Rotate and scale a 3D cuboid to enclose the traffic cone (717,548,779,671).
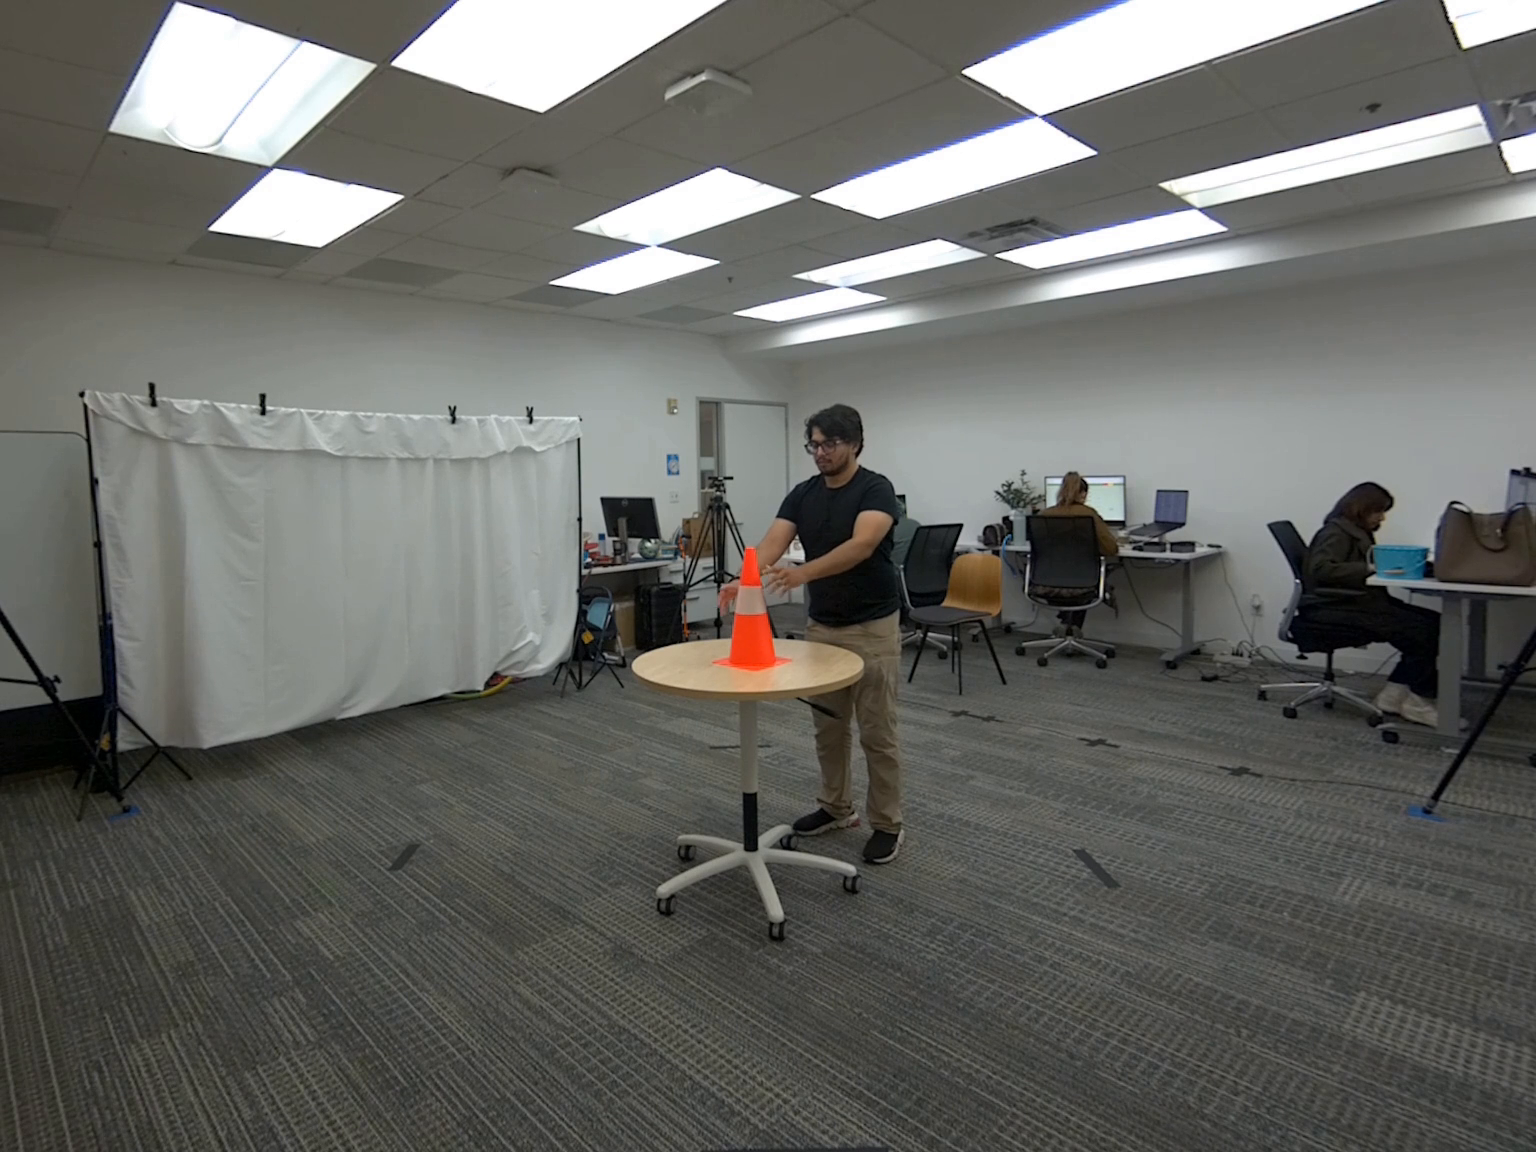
[{"bbox_3d":[-0.056,0.100,2.818,0.209,0.382,0.200,1,6,37],"label":"traffic cone"}]
